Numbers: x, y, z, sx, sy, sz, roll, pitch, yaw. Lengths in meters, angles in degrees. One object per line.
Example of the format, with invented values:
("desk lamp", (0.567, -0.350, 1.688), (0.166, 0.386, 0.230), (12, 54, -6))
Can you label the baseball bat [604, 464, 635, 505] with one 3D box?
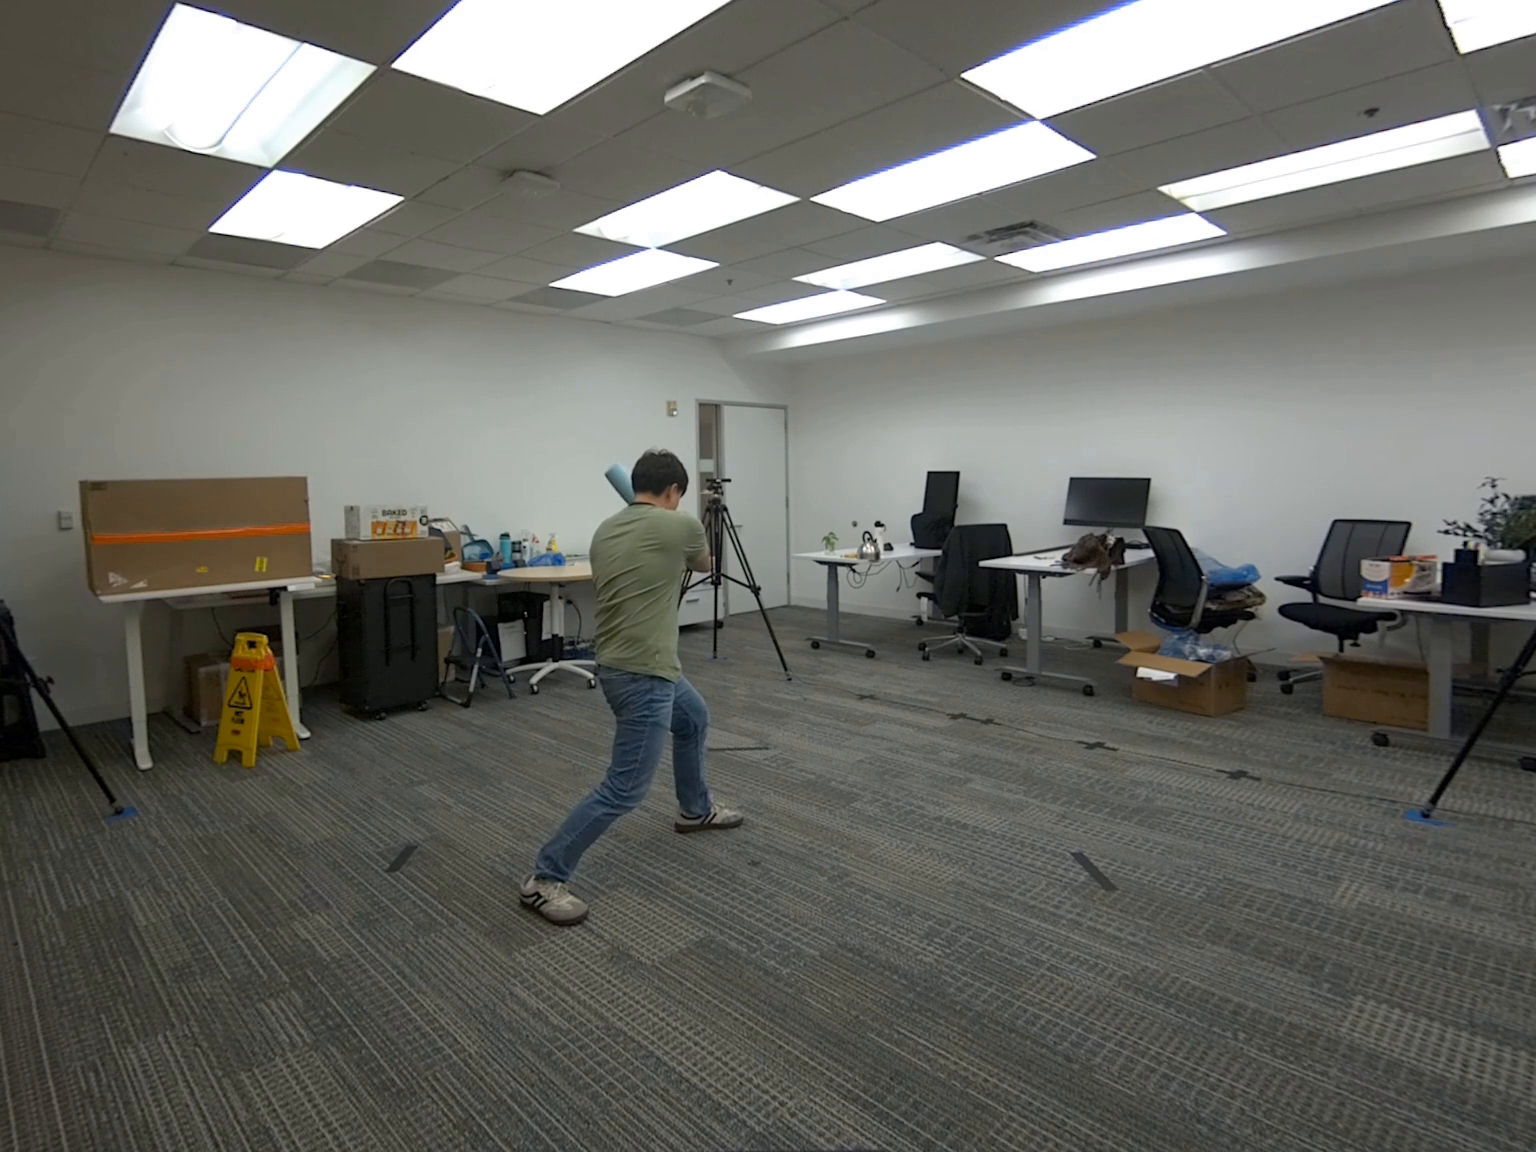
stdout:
("baseball bat", (-0.476, -0.234, 3.533), (0.089, 0.540, 0.089), (-38, 3, 2))
